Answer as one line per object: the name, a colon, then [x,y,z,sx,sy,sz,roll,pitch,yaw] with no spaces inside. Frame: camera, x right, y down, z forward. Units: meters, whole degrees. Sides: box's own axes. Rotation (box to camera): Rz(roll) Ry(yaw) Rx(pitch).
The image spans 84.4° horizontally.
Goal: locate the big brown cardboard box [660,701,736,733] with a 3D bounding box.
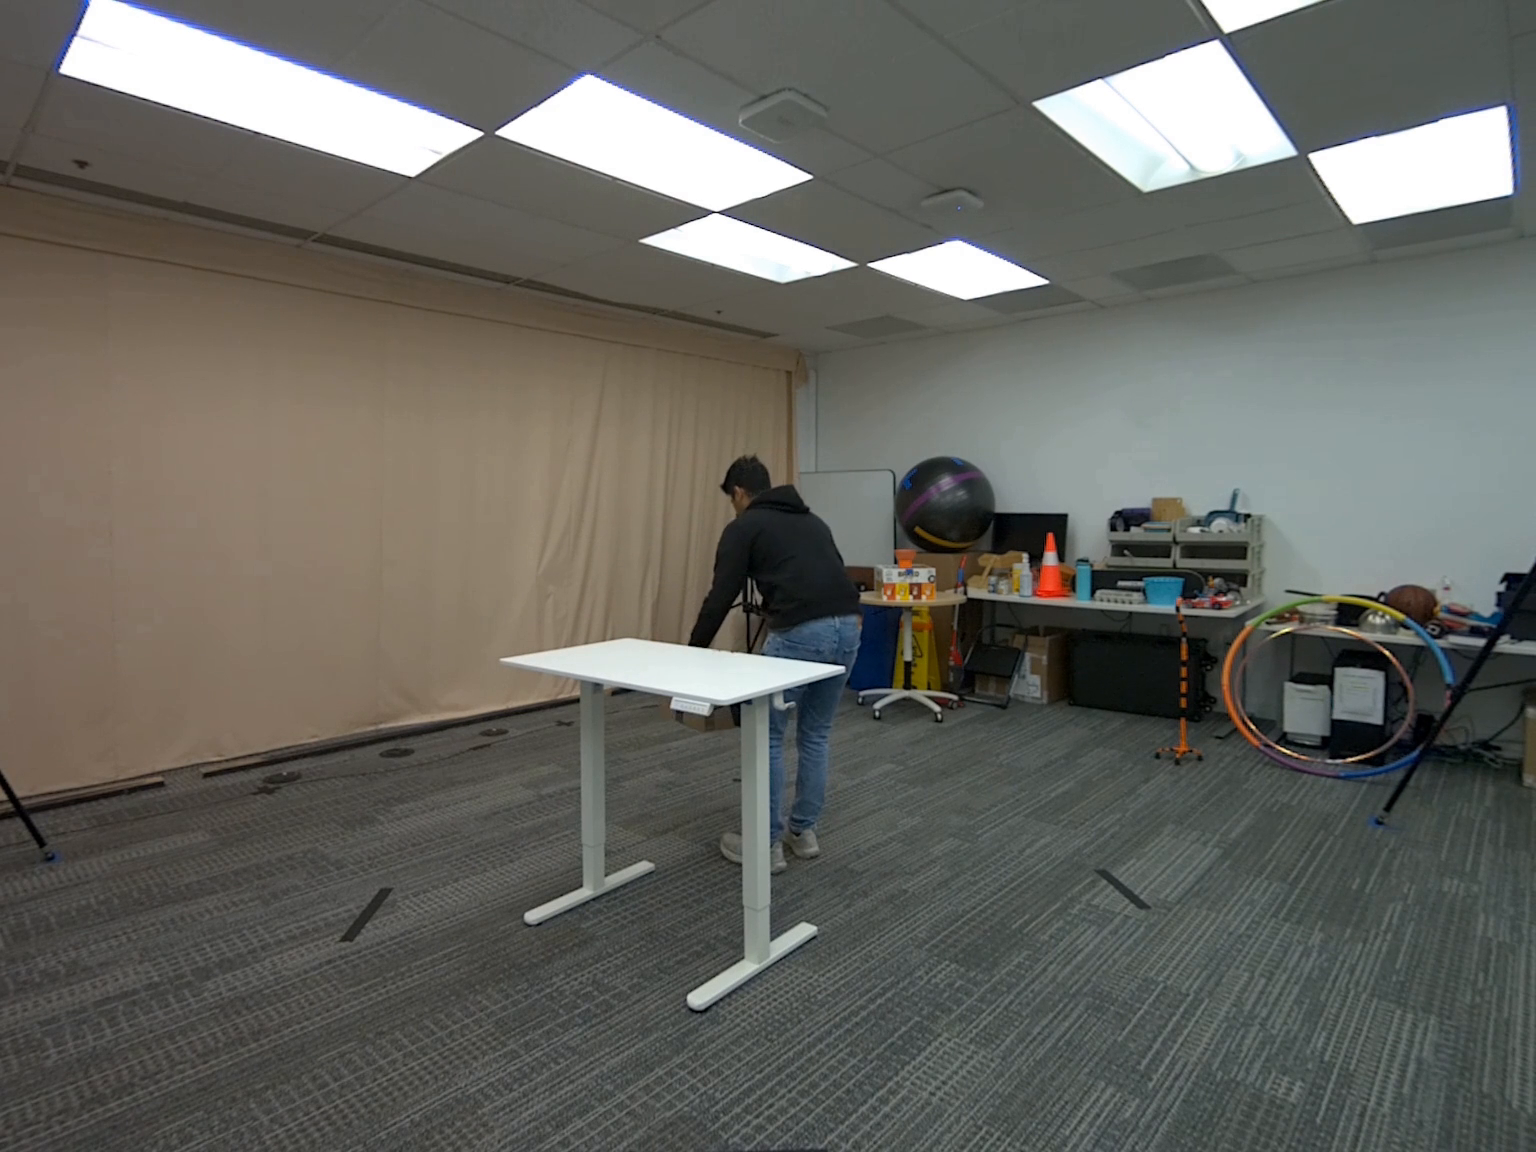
big brown cardboard box: [-0.137,0.498,3.684,0.573,0.233,0.430,-3,4,-31]
